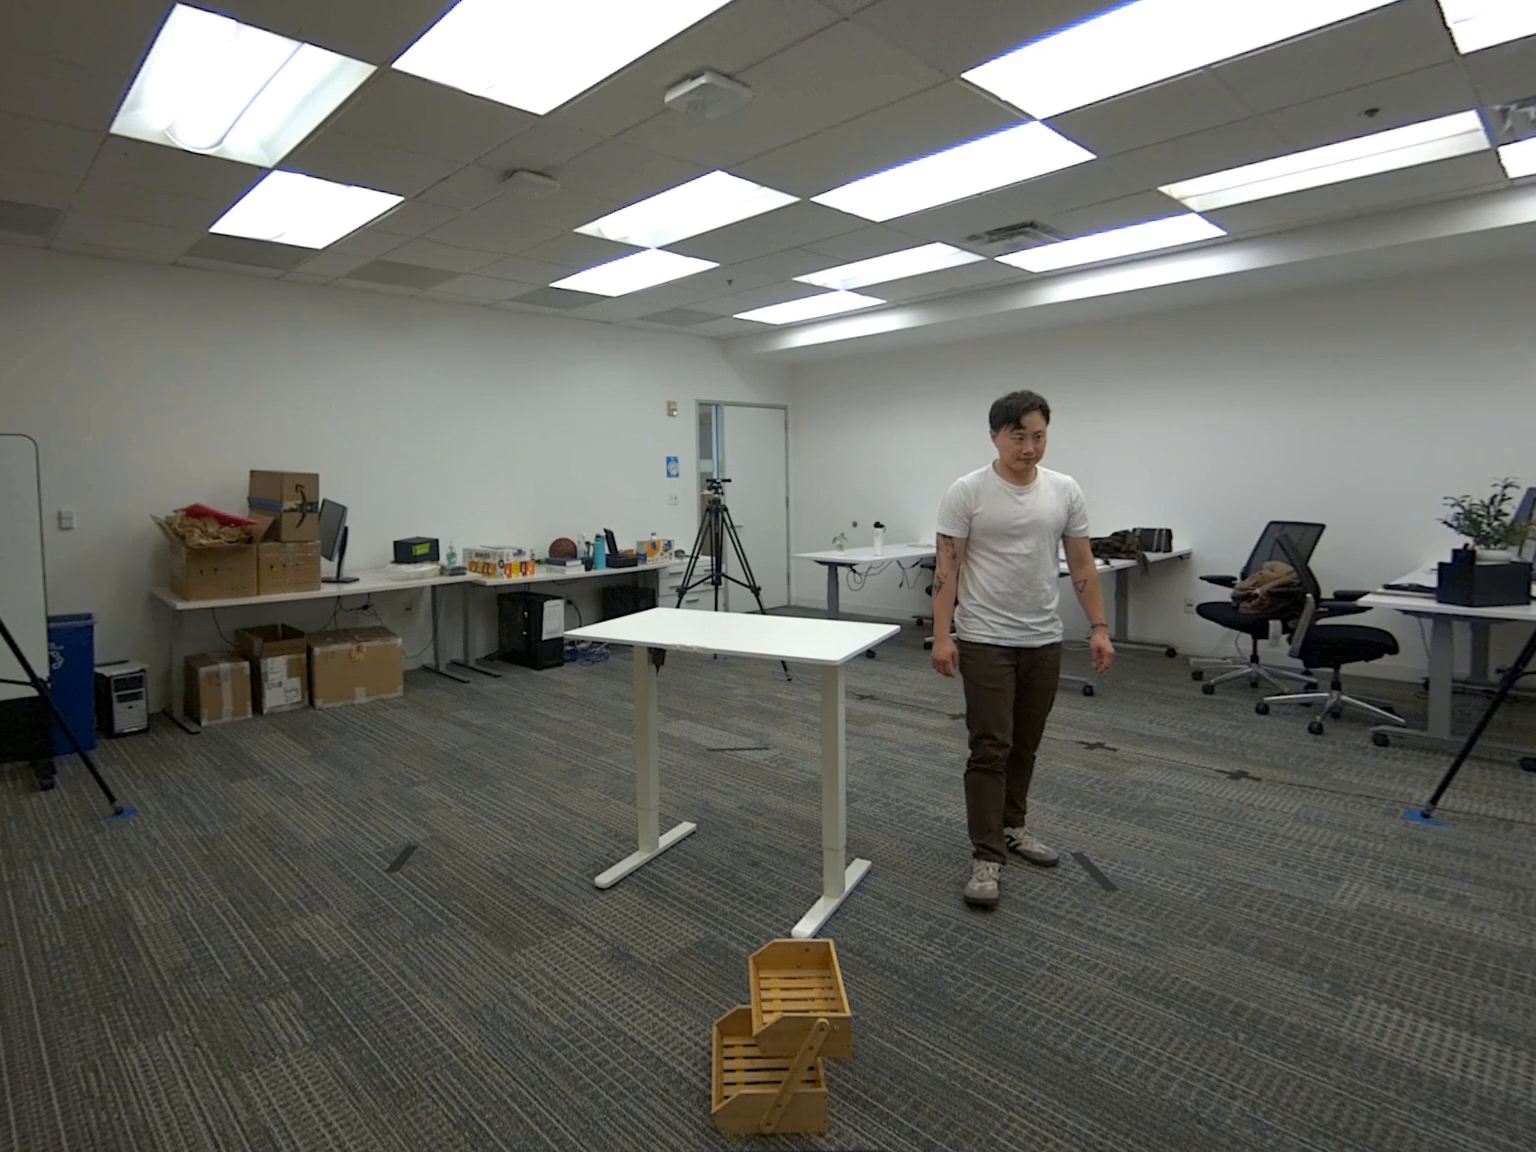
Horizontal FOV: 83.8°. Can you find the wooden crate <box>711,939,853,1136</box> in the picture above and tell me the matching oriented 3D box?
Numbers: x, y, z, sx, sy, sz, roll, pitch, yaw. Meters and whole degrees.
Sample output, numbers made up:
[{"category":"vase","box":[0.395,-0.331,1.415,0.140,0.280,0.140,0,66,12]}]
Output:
[{"category":"wooden crate","box":[0.023,1.046,1.961,0.301,0.272,0.326,-1,5,-3]}]
